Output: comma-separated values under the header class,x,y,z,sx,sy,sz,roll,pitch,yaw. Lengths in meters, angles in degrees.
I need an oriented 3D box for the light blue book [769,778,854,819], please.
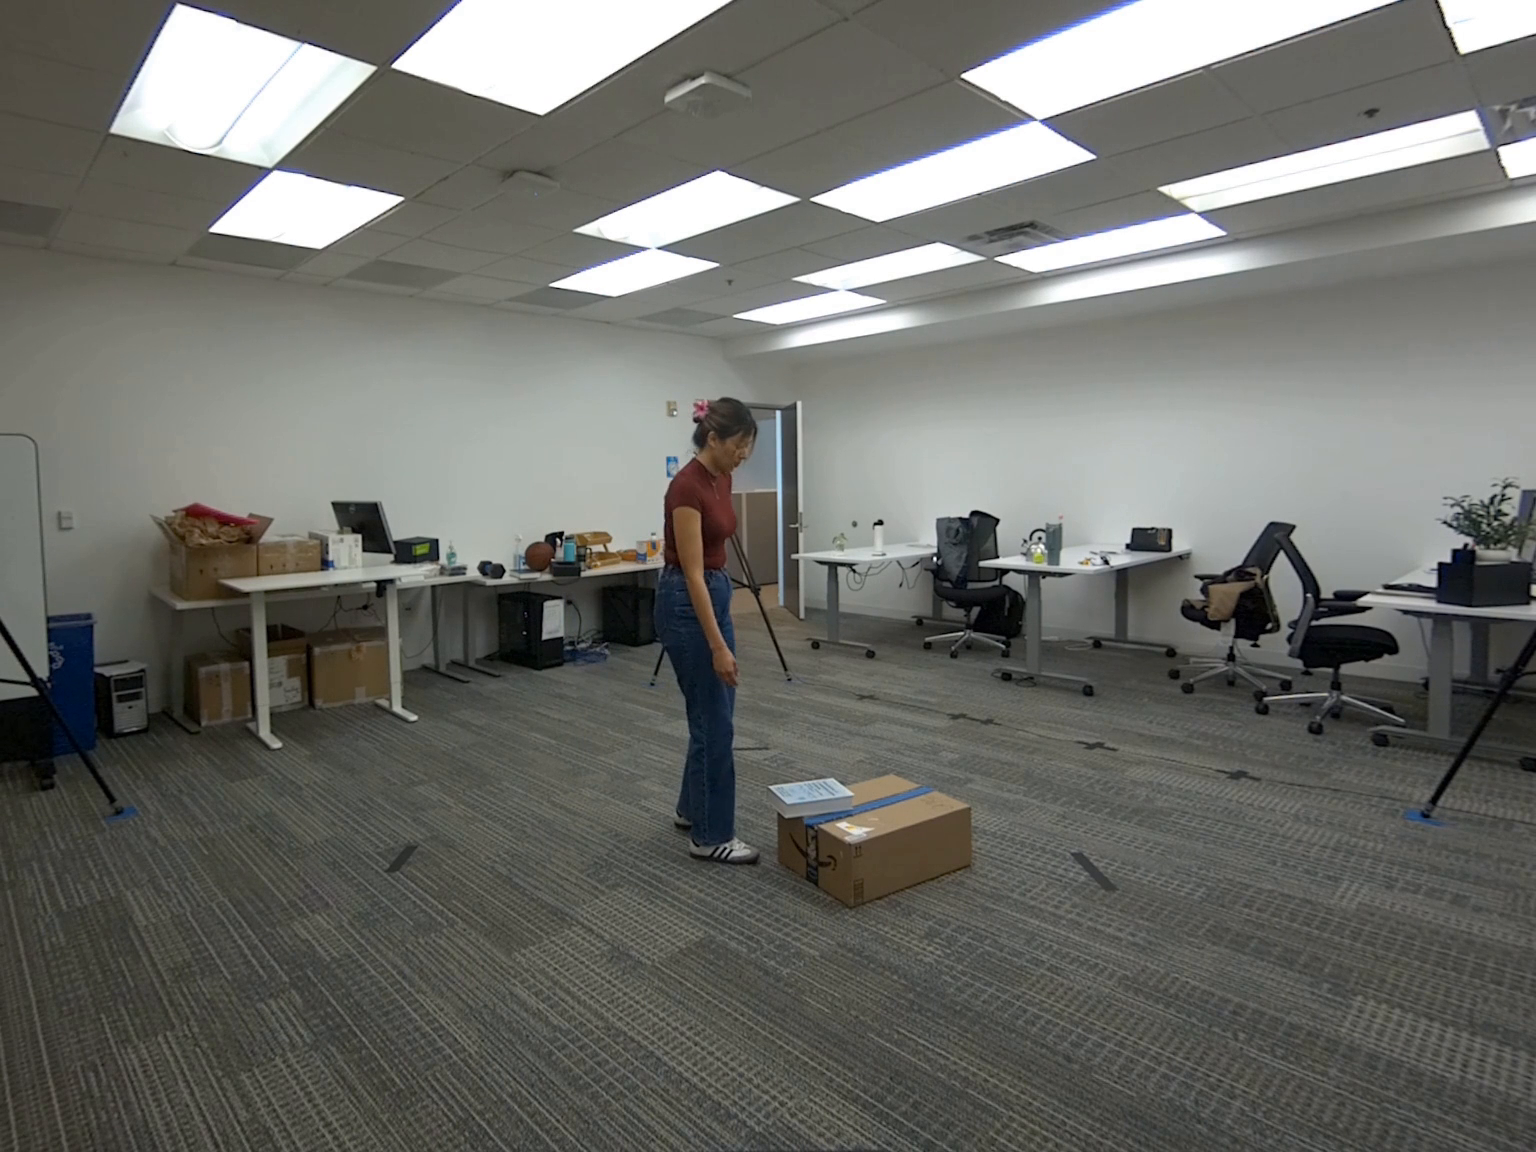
class,x,y,z,sx,sy,sz,roll,pitch,yaw
light blue book,0.151,0.788,3.079,0.256,0.059,0.196,-3,6,-21
